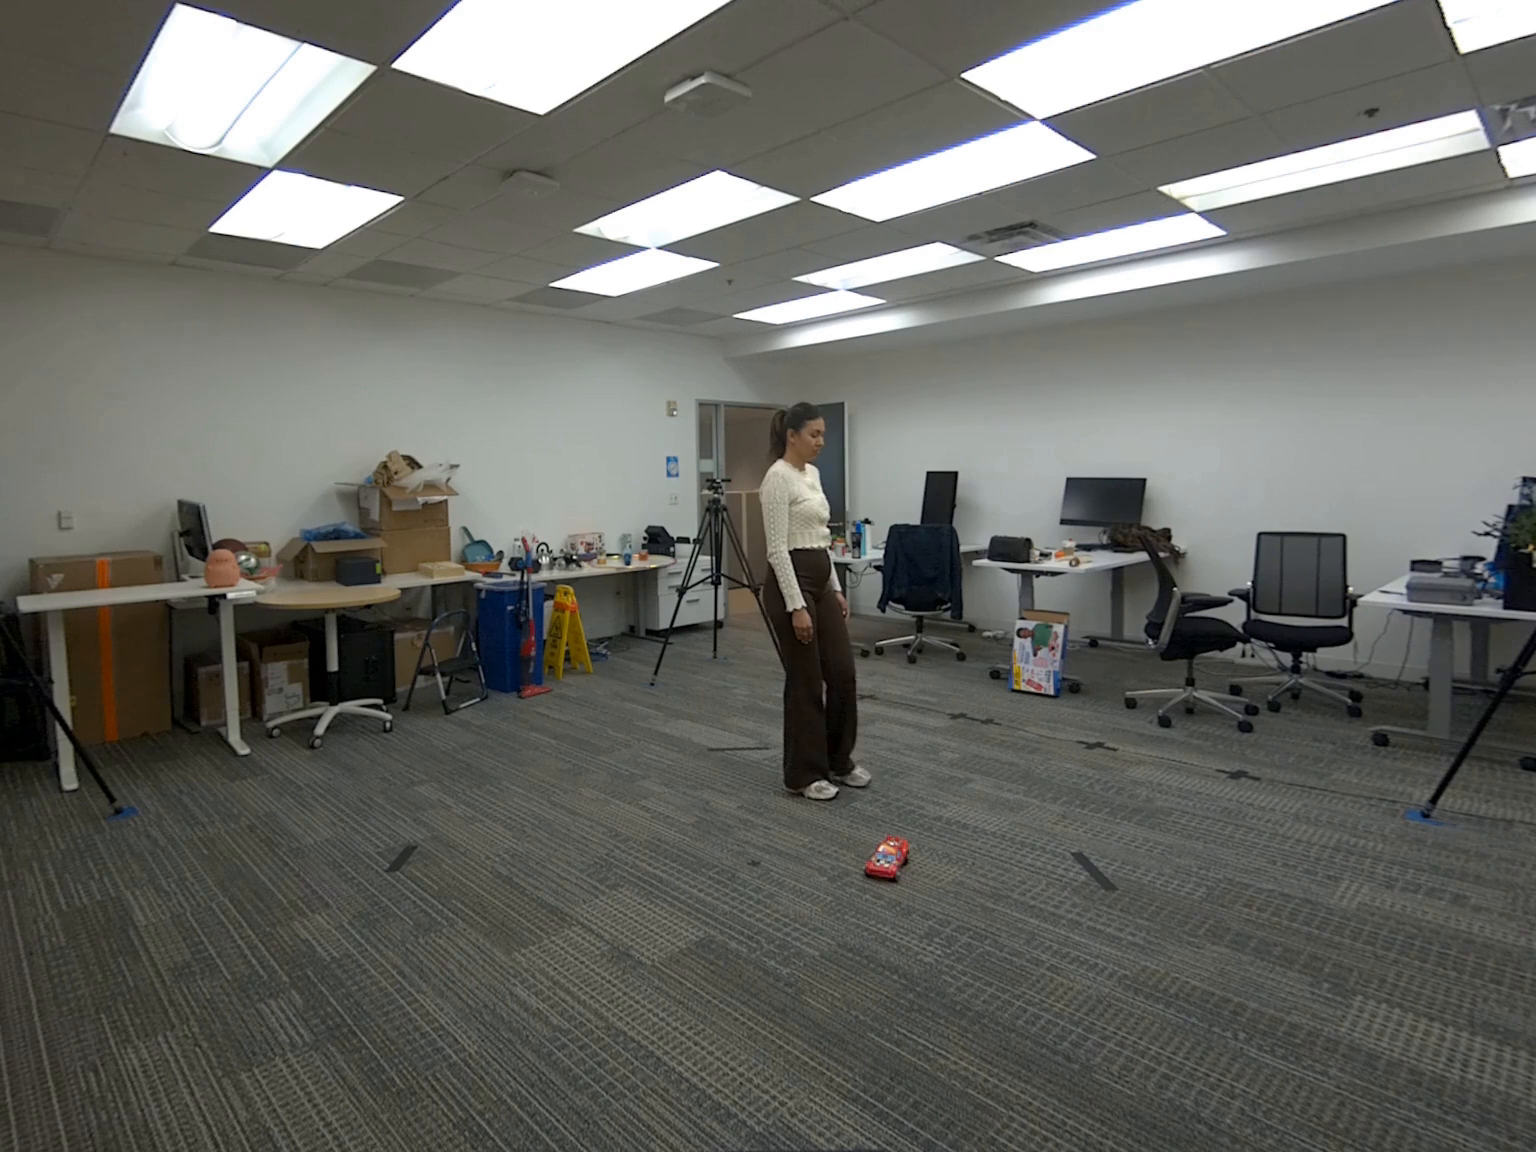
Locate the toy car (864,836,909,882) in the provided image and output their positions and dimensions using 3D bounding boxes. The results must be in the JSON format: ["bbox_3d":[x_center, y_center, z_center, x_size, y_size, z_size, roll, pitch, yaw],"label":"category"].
[{"bbox_3d":[0.435,1.012,3.057,0.133,0.082,0.253,0,18,23],"label":"toy car"}]
